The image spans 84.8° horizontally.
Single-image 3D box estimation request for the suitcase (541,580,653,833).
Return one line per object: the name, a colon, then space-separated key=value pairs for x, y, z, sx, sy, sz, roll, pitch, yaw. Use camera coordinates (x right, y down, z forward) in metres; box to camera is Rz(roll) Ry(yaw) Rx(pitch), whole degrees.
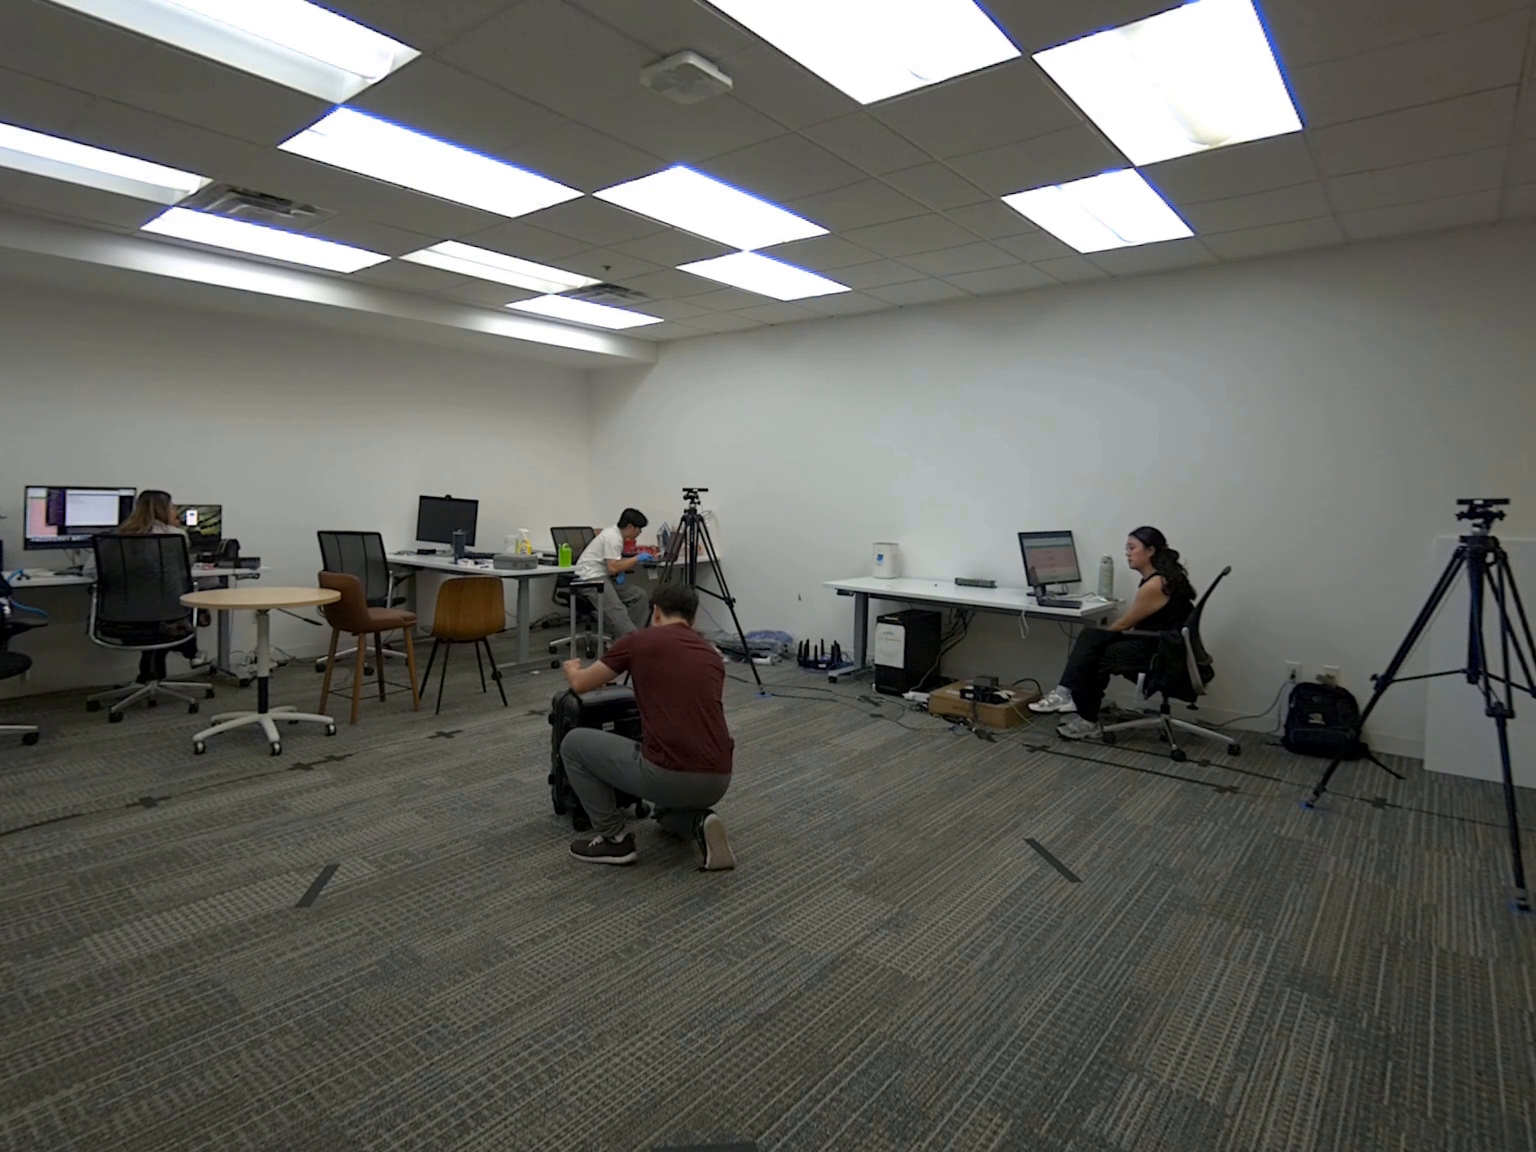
suitcase: x=-0.732 y=0.529 z=3.592 sx=0.373 sy=0.975 sz=0.265 roll=-3 pitch=4 yaw=-33
